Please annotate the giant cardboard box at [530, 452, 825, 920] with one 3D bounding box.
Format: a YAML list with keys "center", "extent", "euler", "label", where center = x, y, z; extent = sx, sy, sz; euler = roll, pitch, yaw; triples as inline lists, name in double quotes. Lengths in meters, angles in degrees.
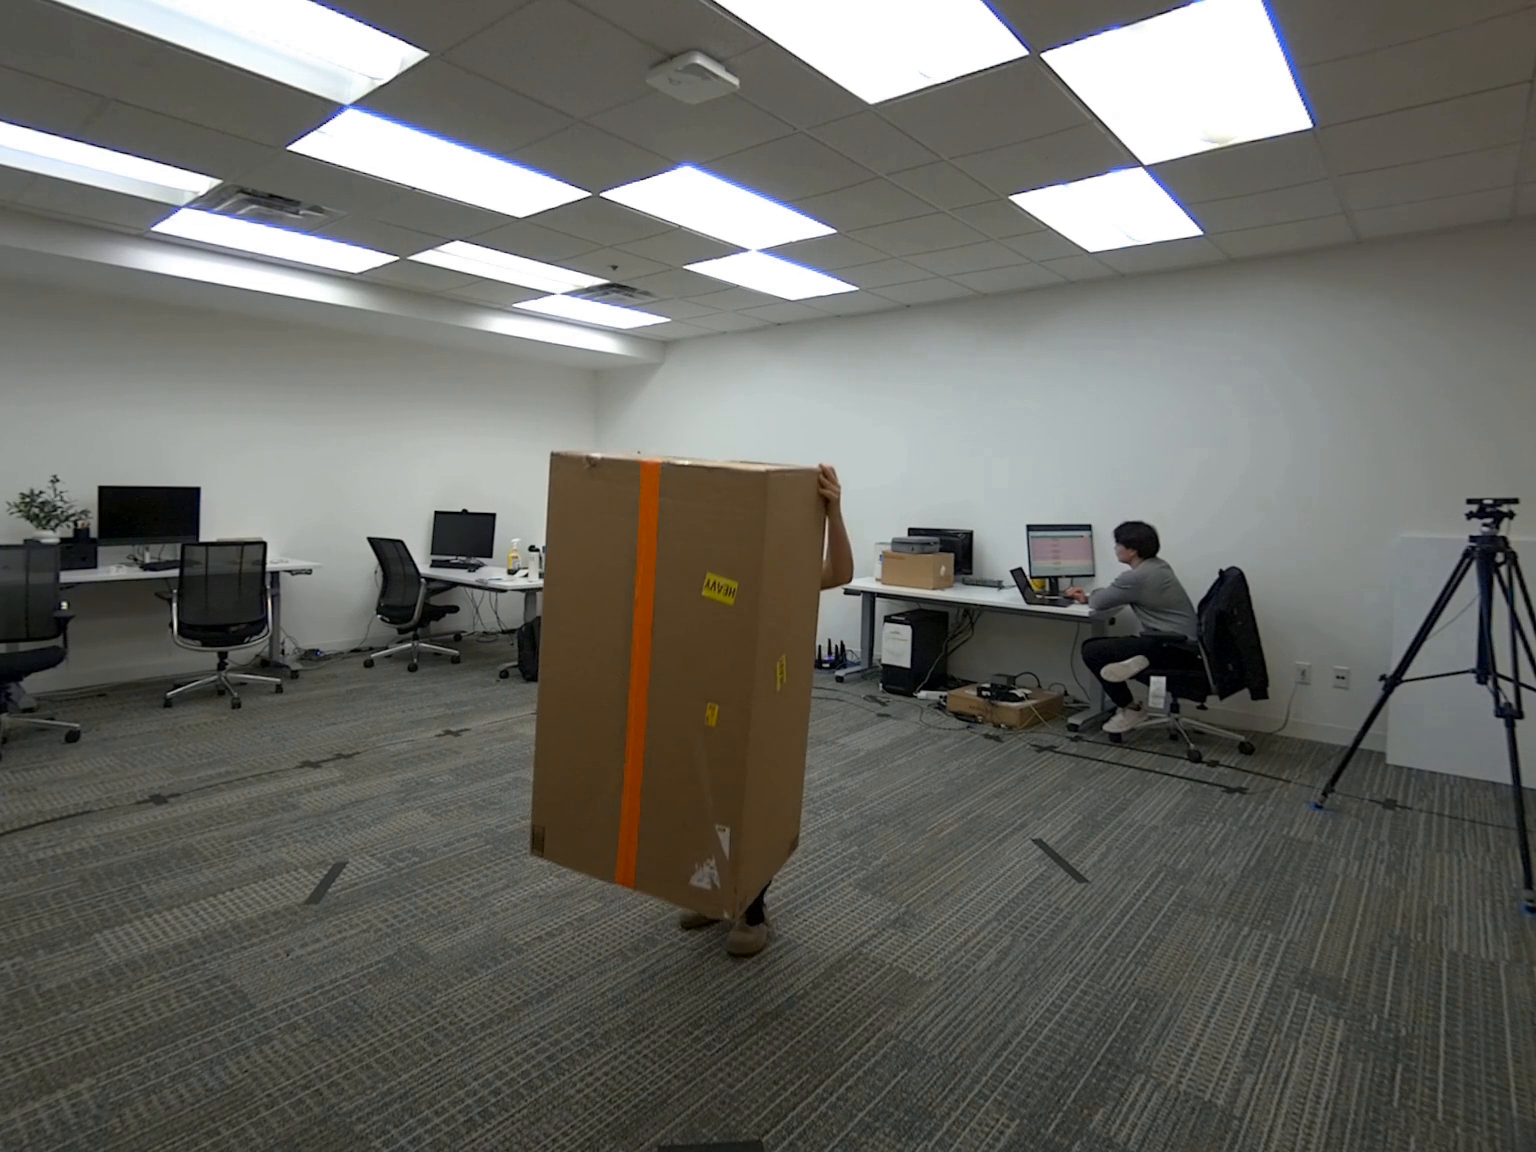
- center: [-0.232, 0.220, 2.160]
  extent: [0.593, 1.020, 0.418]
  euler: [7, 7, 23]
  label: "giant cardboard box"
